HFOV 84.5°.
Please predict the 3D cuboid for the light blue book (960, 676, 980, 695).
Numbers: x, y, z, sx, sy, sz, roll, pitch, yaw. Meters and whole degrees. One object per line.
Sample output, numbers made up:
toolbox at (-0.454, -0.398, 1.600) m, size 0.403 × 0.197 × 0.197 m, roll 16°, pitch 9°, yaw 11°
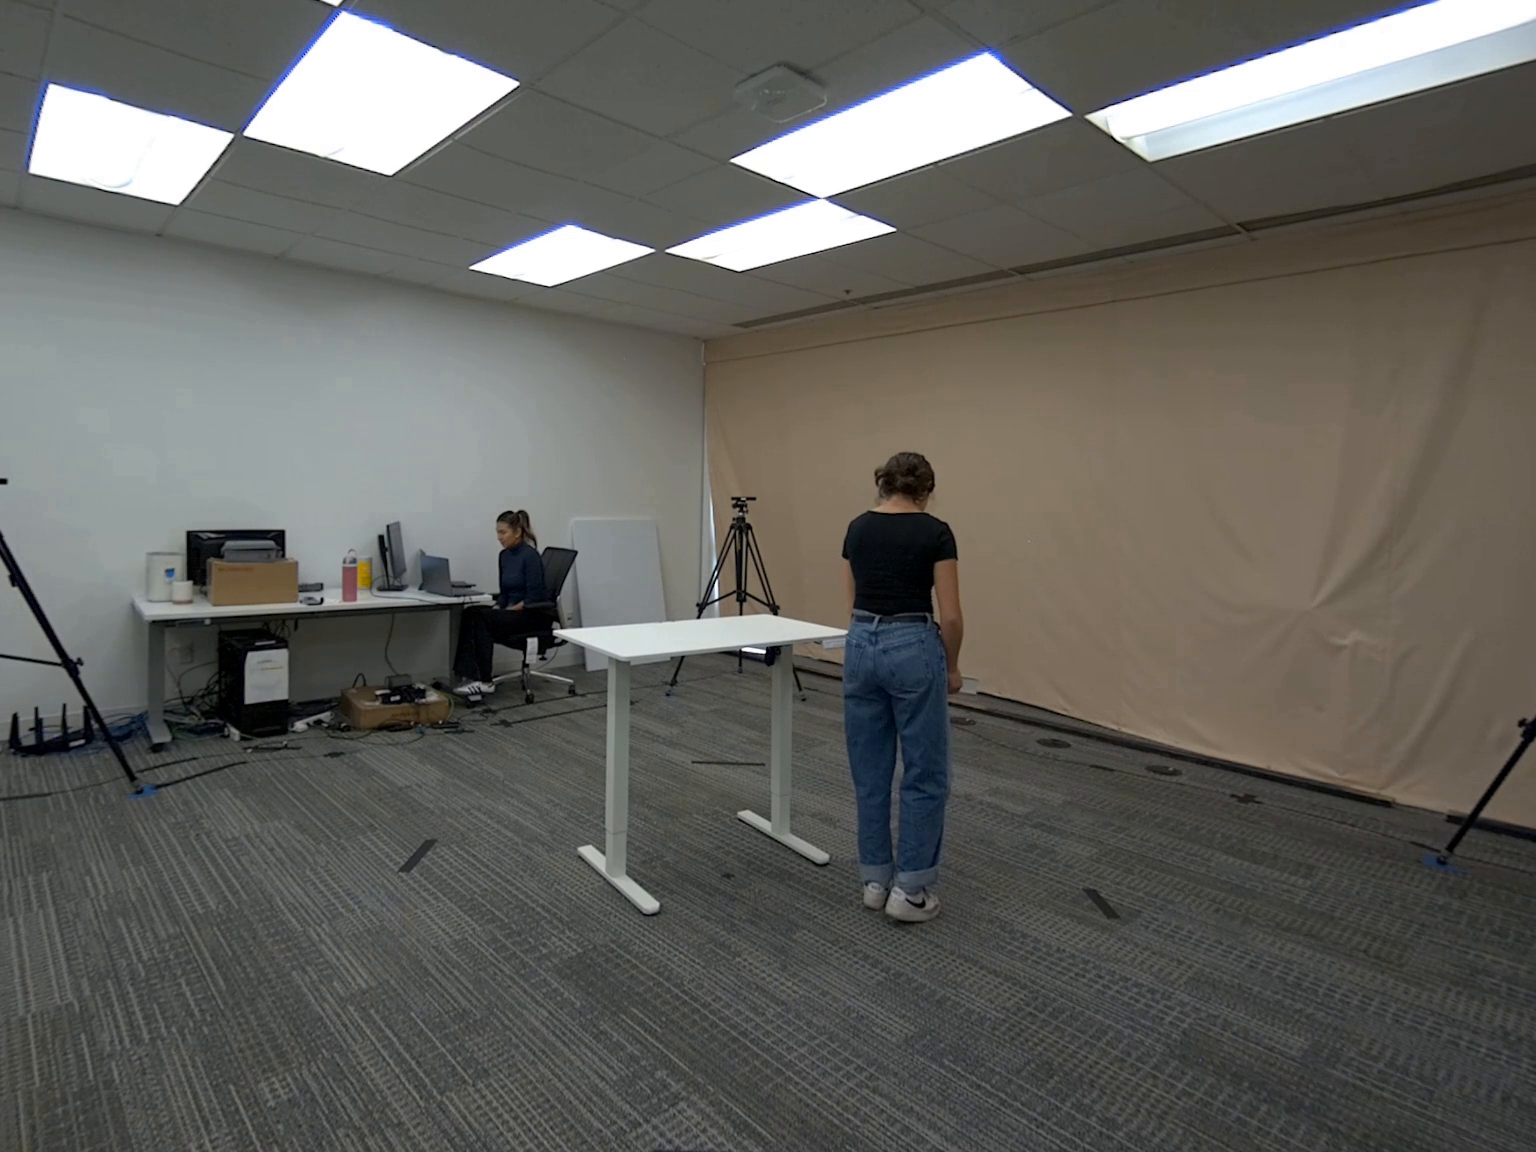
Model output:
light blue book at (0.622, 0.374, 3.040) m, size 0.196 × 0.059 × 0.253 m, roll 11°, pitch -2°, yaw 43°
